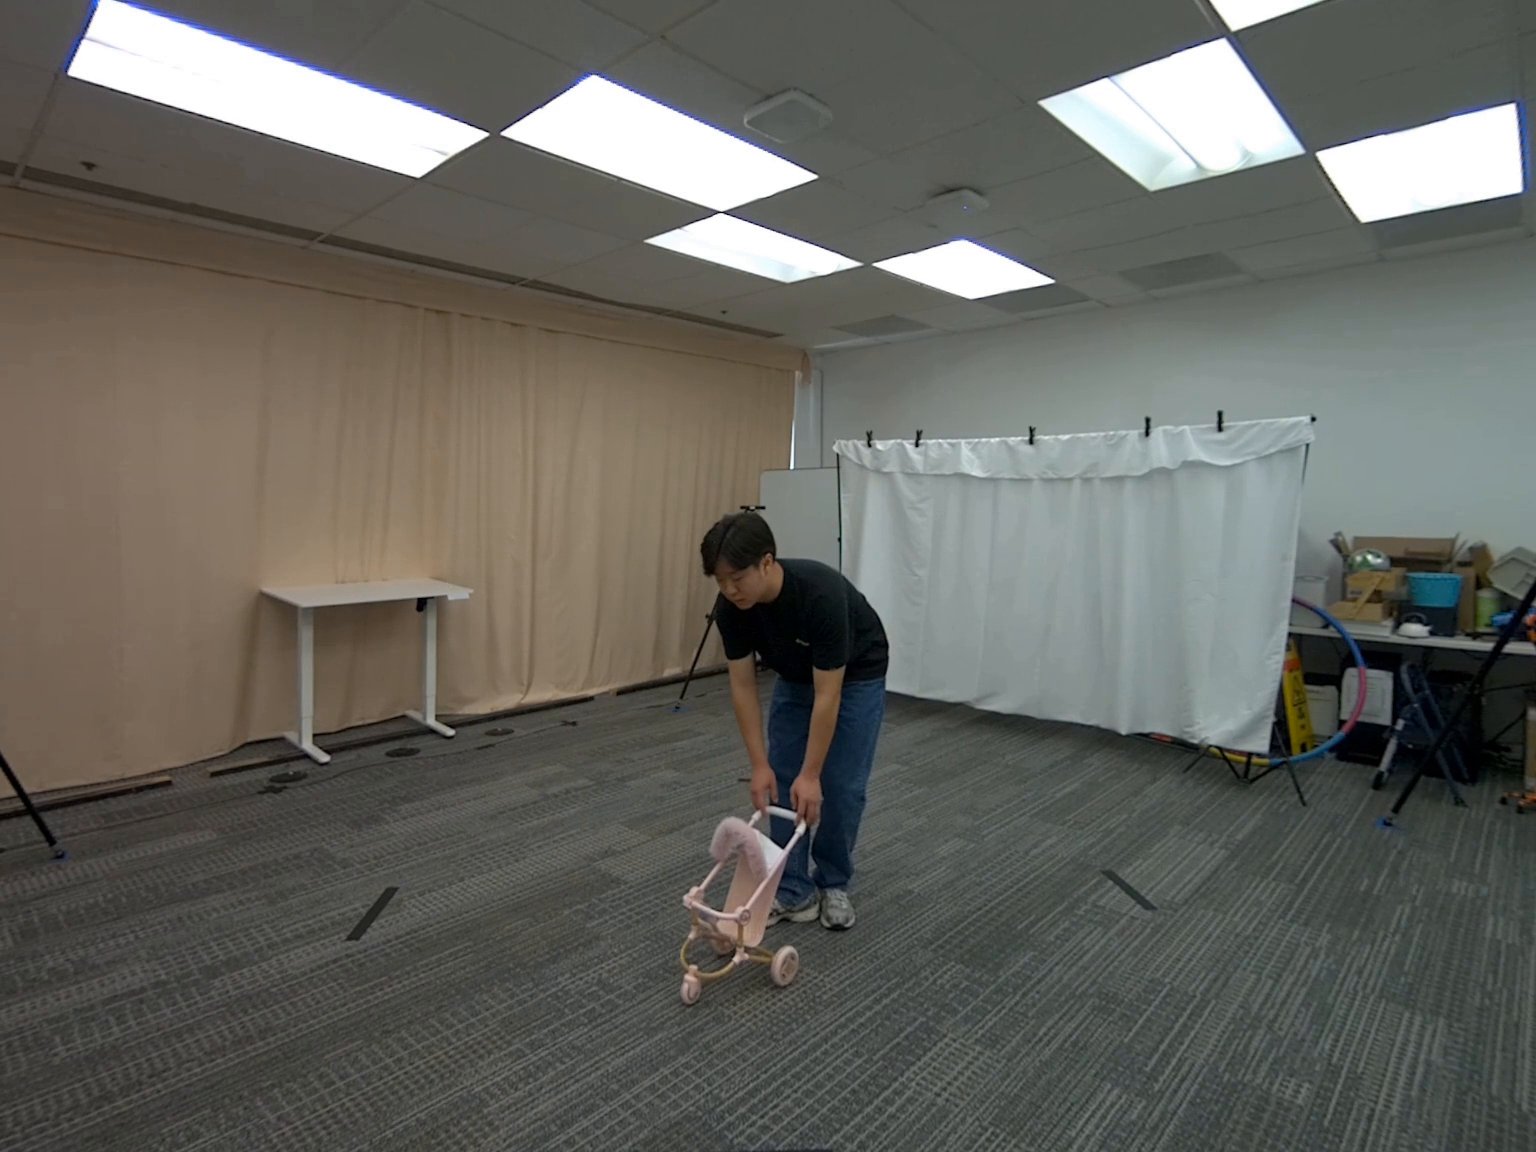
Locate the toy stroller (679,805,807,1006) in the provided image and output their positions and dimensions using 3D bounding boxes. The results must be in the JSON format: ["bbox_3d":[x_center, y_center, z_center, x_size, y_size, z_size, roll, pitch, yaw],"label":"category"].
[{"bbox_3d":[-0.090,0.958,2.484,0.329,0.537,0.290,16,-10,-40],"label":"toy stroller"}]
